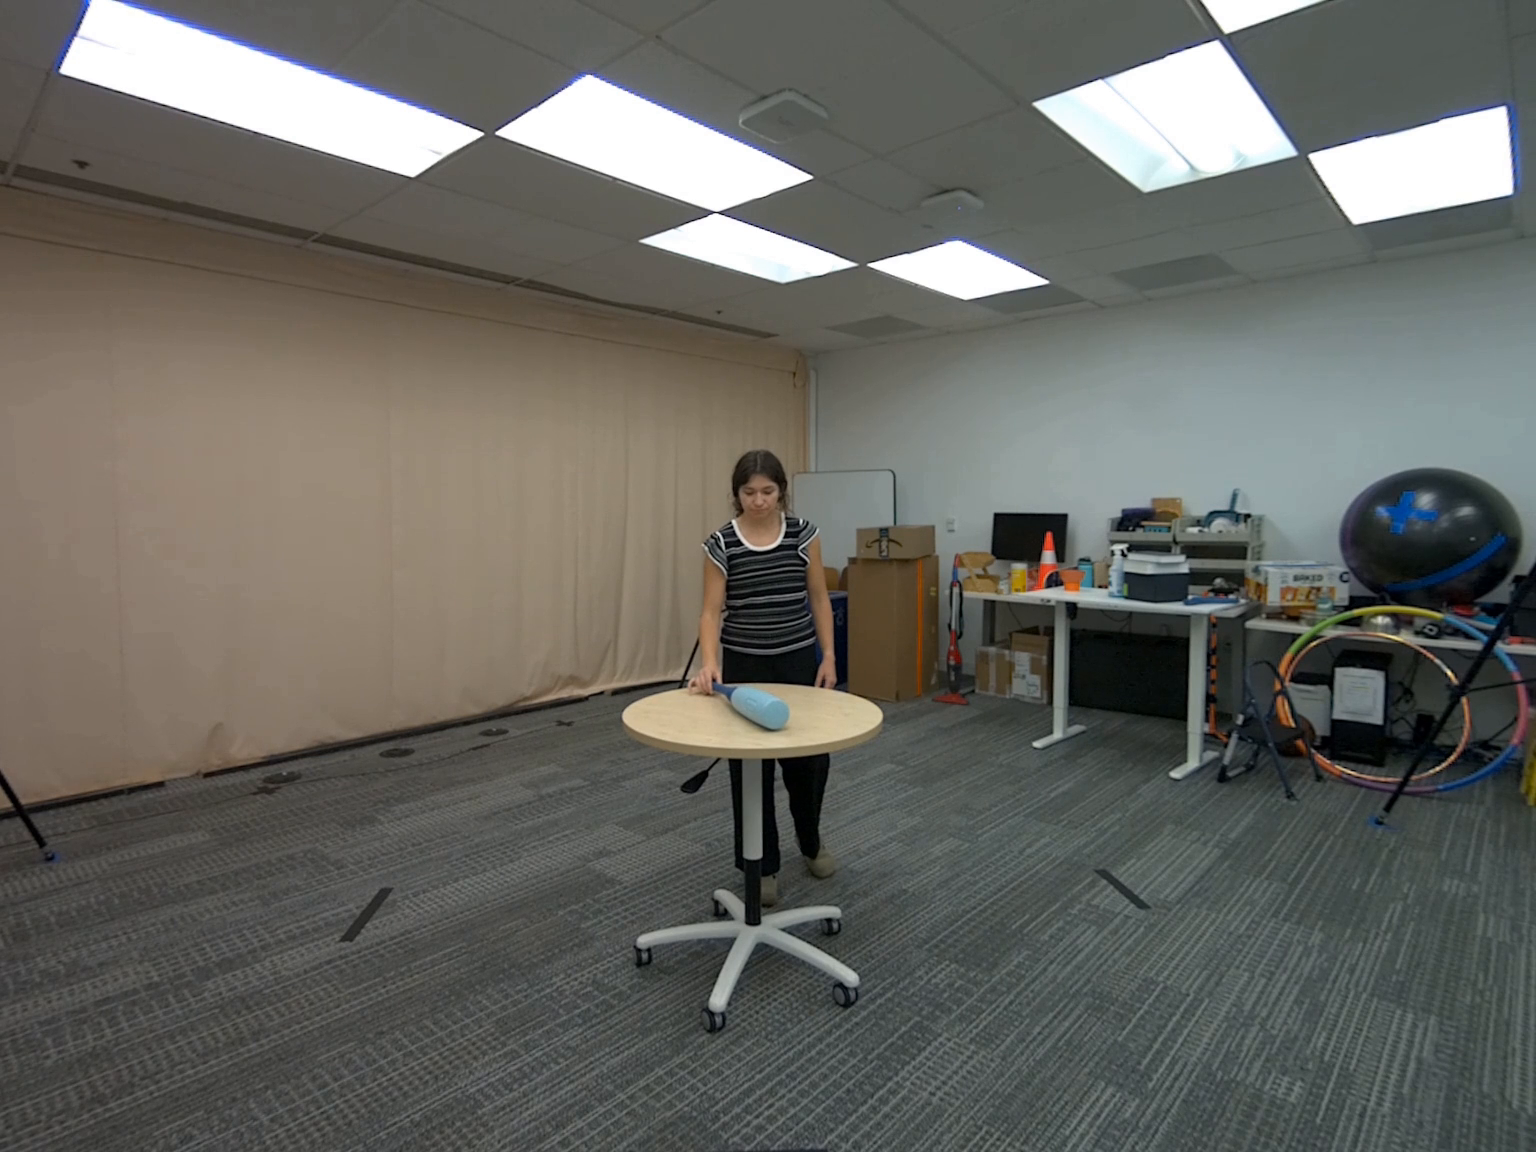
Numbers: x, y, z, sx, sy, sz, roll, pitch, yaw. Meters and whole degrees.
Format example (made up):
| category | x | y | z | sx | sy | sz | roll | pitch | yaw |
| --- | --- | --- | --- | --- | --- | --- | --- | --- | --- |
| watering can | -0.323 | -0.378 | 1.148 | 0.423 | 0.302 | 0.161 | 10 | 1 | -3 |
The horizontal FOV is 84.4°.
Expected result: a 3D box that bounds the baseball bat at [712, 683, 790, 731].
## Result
| category | x | y | z | sx | sy | sz | roll | pitch | yaw |
| --- | --- | --- | --- | --- | --- | --- | --- | --- | --- |
| baseball bat | -0.079 | 0.363 | 2.509 | 0.087 | 0.089 | 0.555 | -1 | 3 | -23 |
